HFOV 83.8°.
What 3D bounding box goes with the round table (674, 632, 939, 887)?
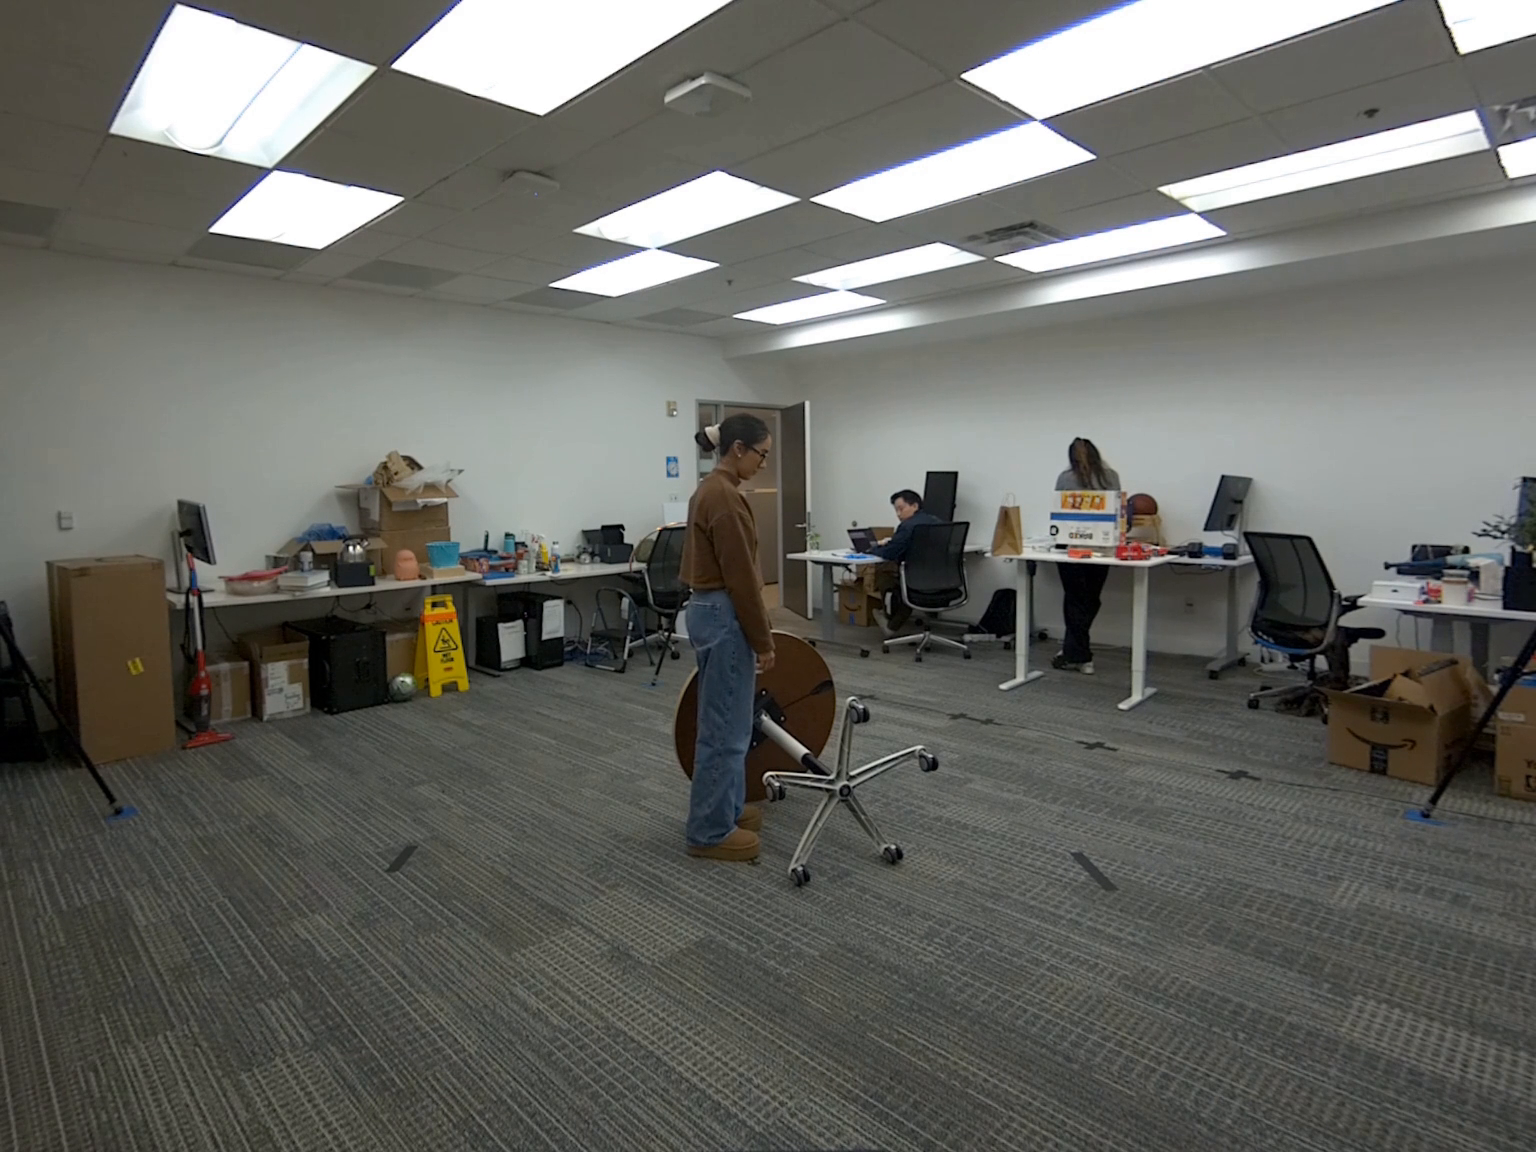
[{"bbox_3d":[0.133,0.686,3.300,0.748,0.757,0.819,-3,13,-26],"label":"round table"}]
